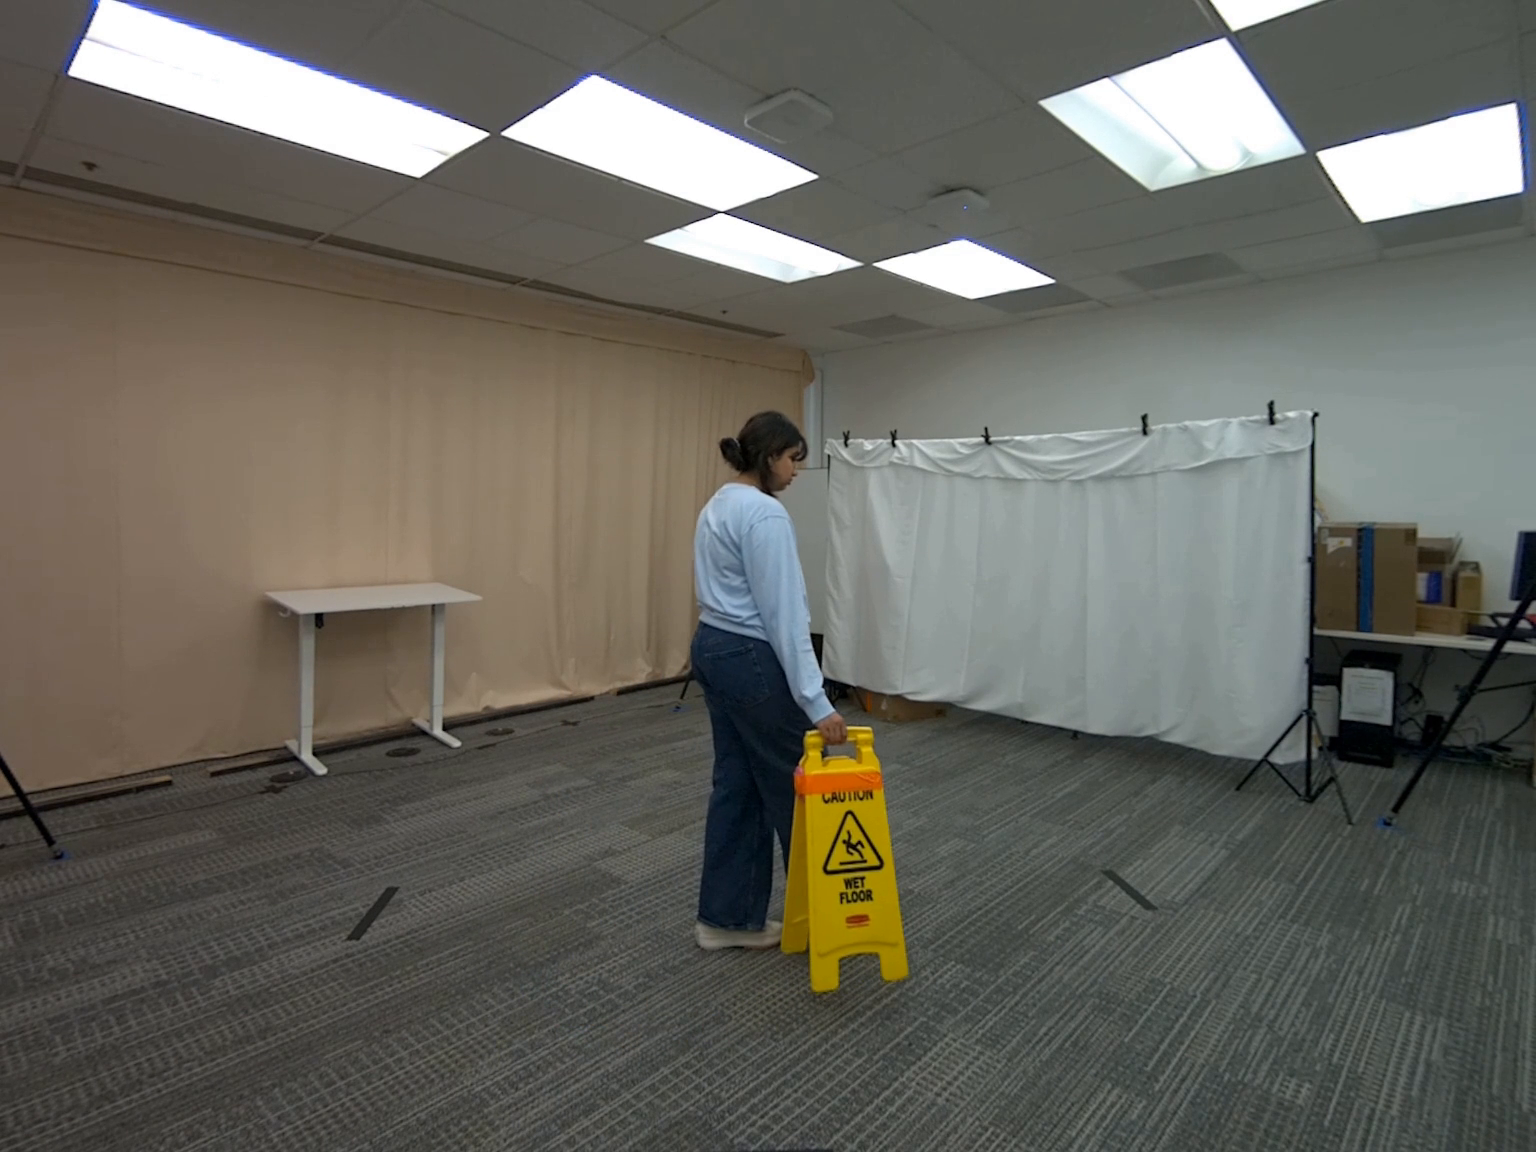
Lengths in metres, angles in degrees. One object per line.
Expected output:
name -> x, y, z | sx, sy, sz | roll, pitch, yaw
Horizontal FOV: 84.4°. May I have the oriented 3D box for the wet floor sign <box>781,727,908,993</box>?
wet floor sign -> 0.208, 0.756, 2.333 | 0.278, 0.646, 0.294 | -1, -1, -16
